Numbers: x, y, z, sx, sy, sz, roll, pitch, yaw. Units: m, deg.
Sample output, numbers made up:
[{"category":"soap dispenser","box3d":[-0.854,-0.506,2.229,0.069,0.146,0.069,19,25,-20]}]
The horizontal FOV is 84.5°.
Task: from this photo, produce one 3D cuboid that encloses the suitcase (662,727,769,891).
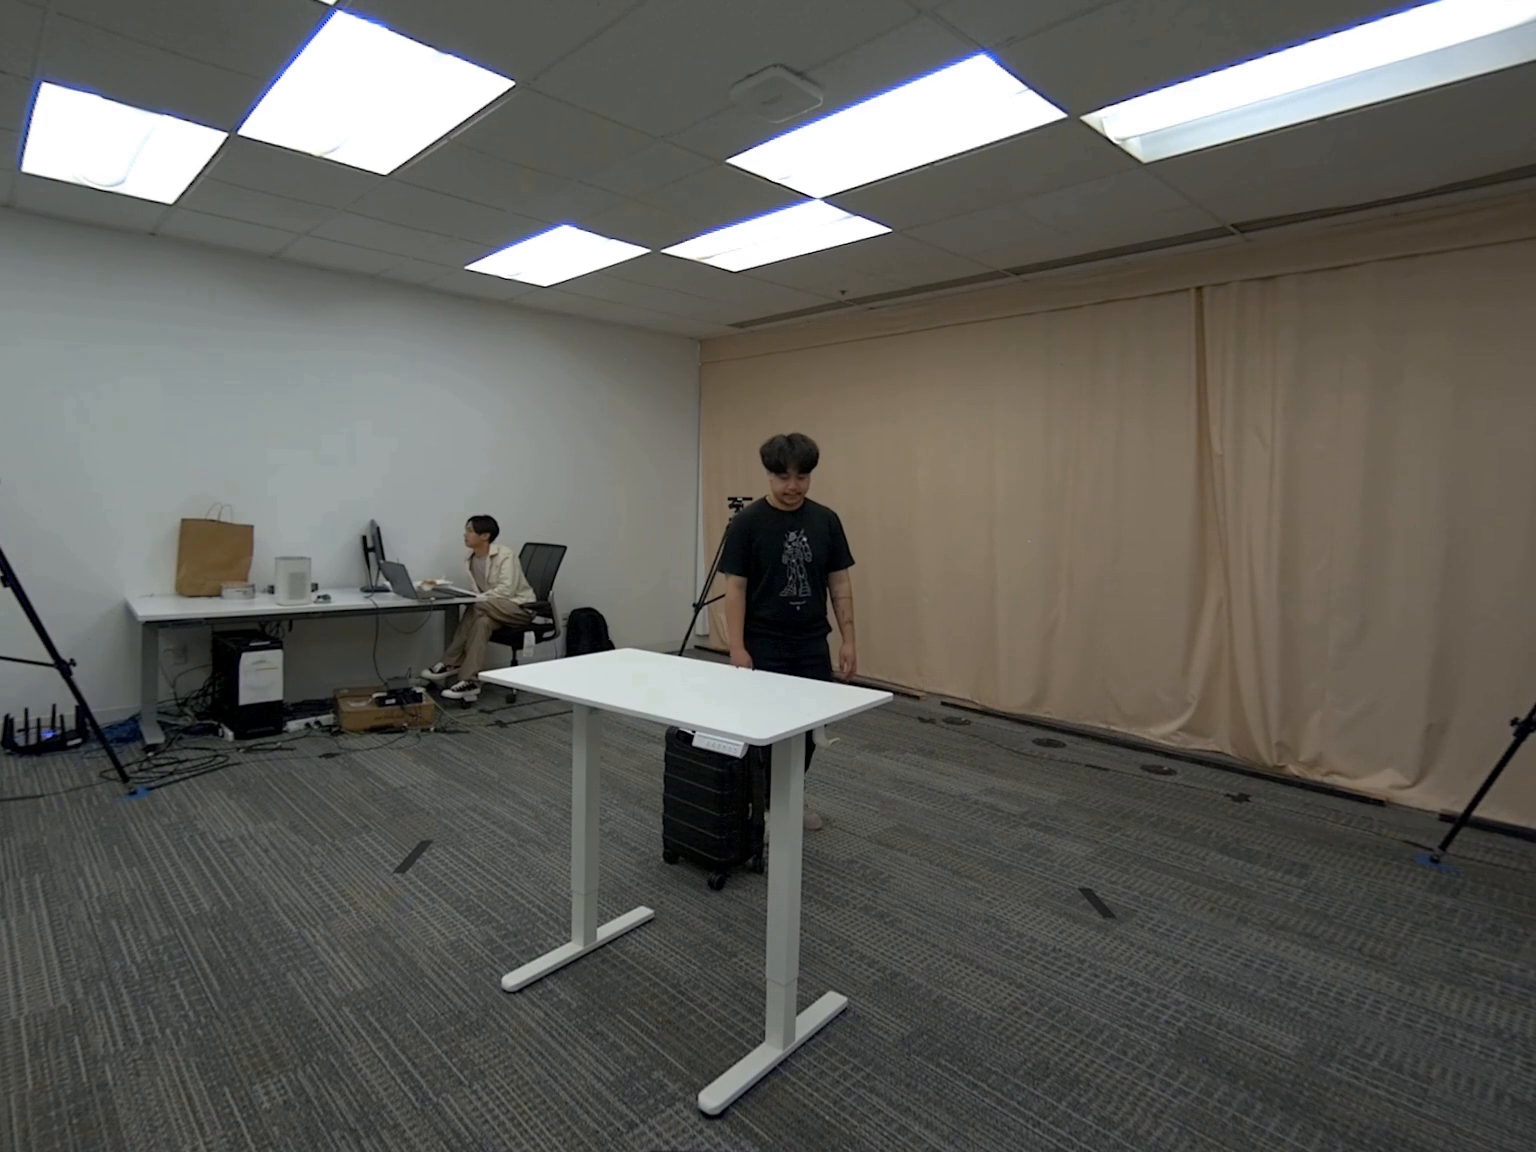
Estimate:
[{"category":"suitcase","box3d":[-0.213,0.826,3.182,0.385,0.548,0.242,4,4,44]}]
